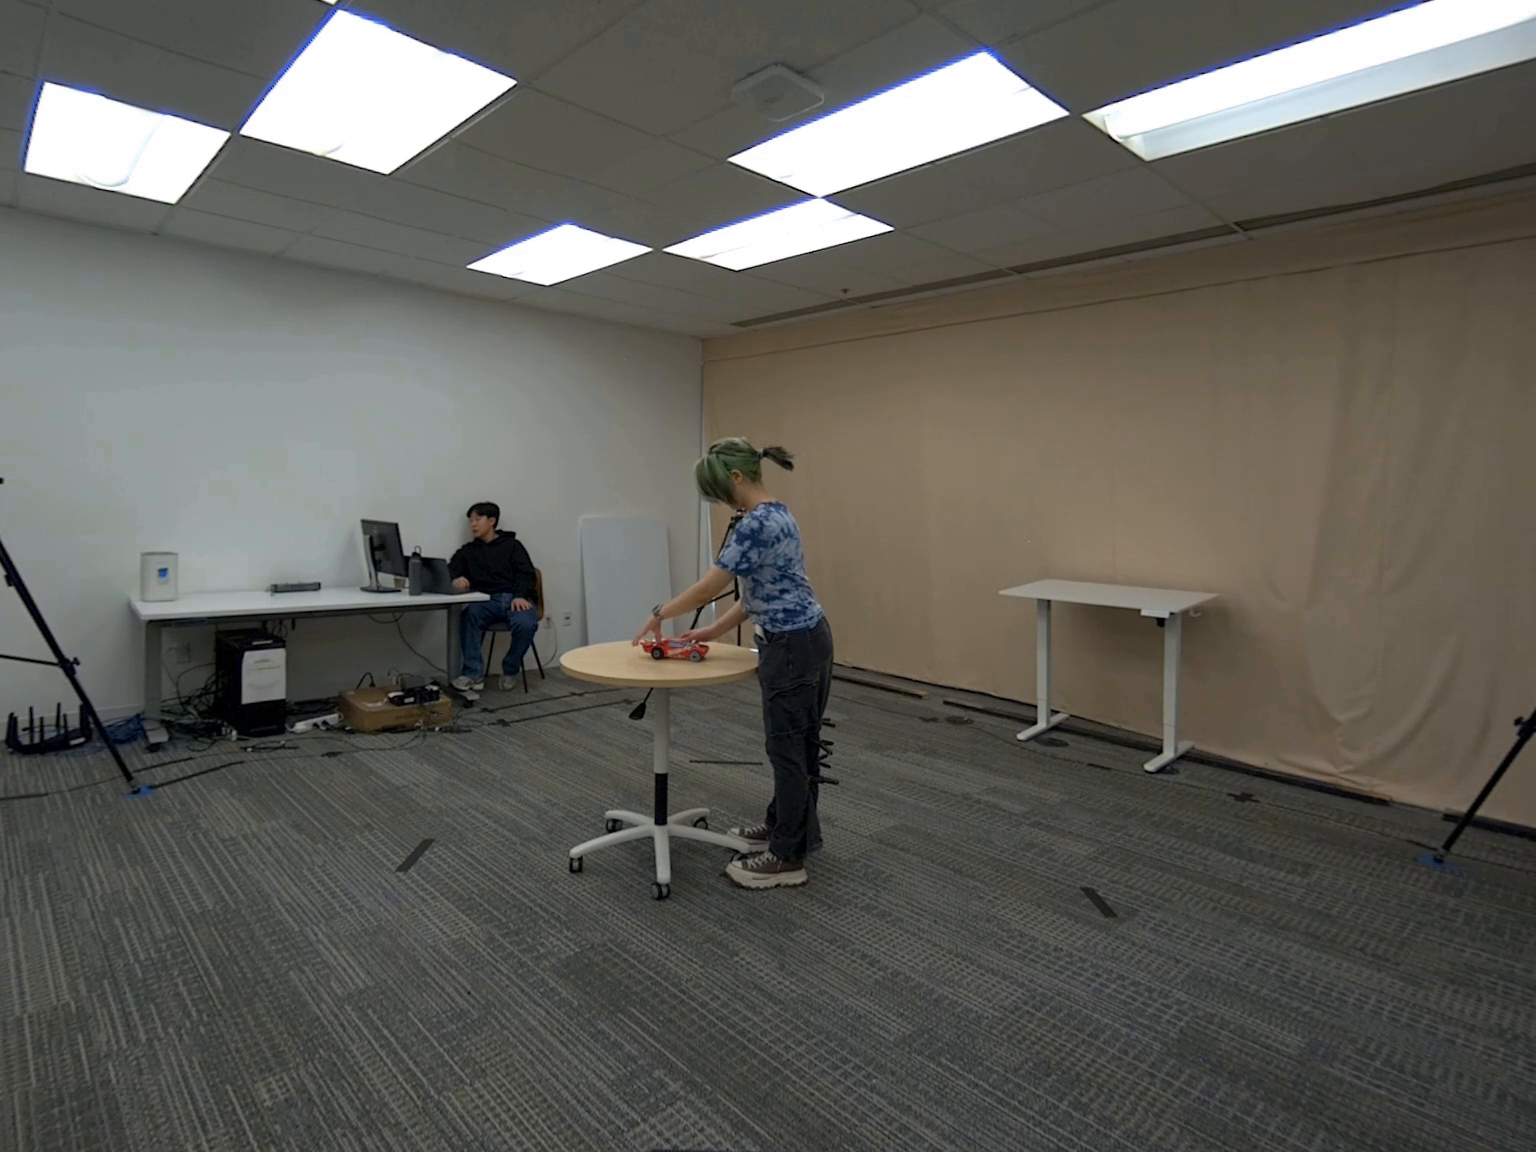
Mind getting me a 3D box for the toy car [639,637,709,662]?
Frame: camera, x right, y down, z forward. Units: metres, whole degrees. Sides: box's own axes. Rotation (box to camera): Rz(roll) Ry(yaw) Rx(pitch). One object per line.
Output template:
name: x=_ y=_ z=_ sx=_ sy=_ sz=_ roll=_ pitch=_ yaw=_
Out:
toy car: x=-0.362 y=0.277 z=3.175 sx=0.257 sy=0.083 sz=0.129 roll=13 pitch=6 yaw=9
